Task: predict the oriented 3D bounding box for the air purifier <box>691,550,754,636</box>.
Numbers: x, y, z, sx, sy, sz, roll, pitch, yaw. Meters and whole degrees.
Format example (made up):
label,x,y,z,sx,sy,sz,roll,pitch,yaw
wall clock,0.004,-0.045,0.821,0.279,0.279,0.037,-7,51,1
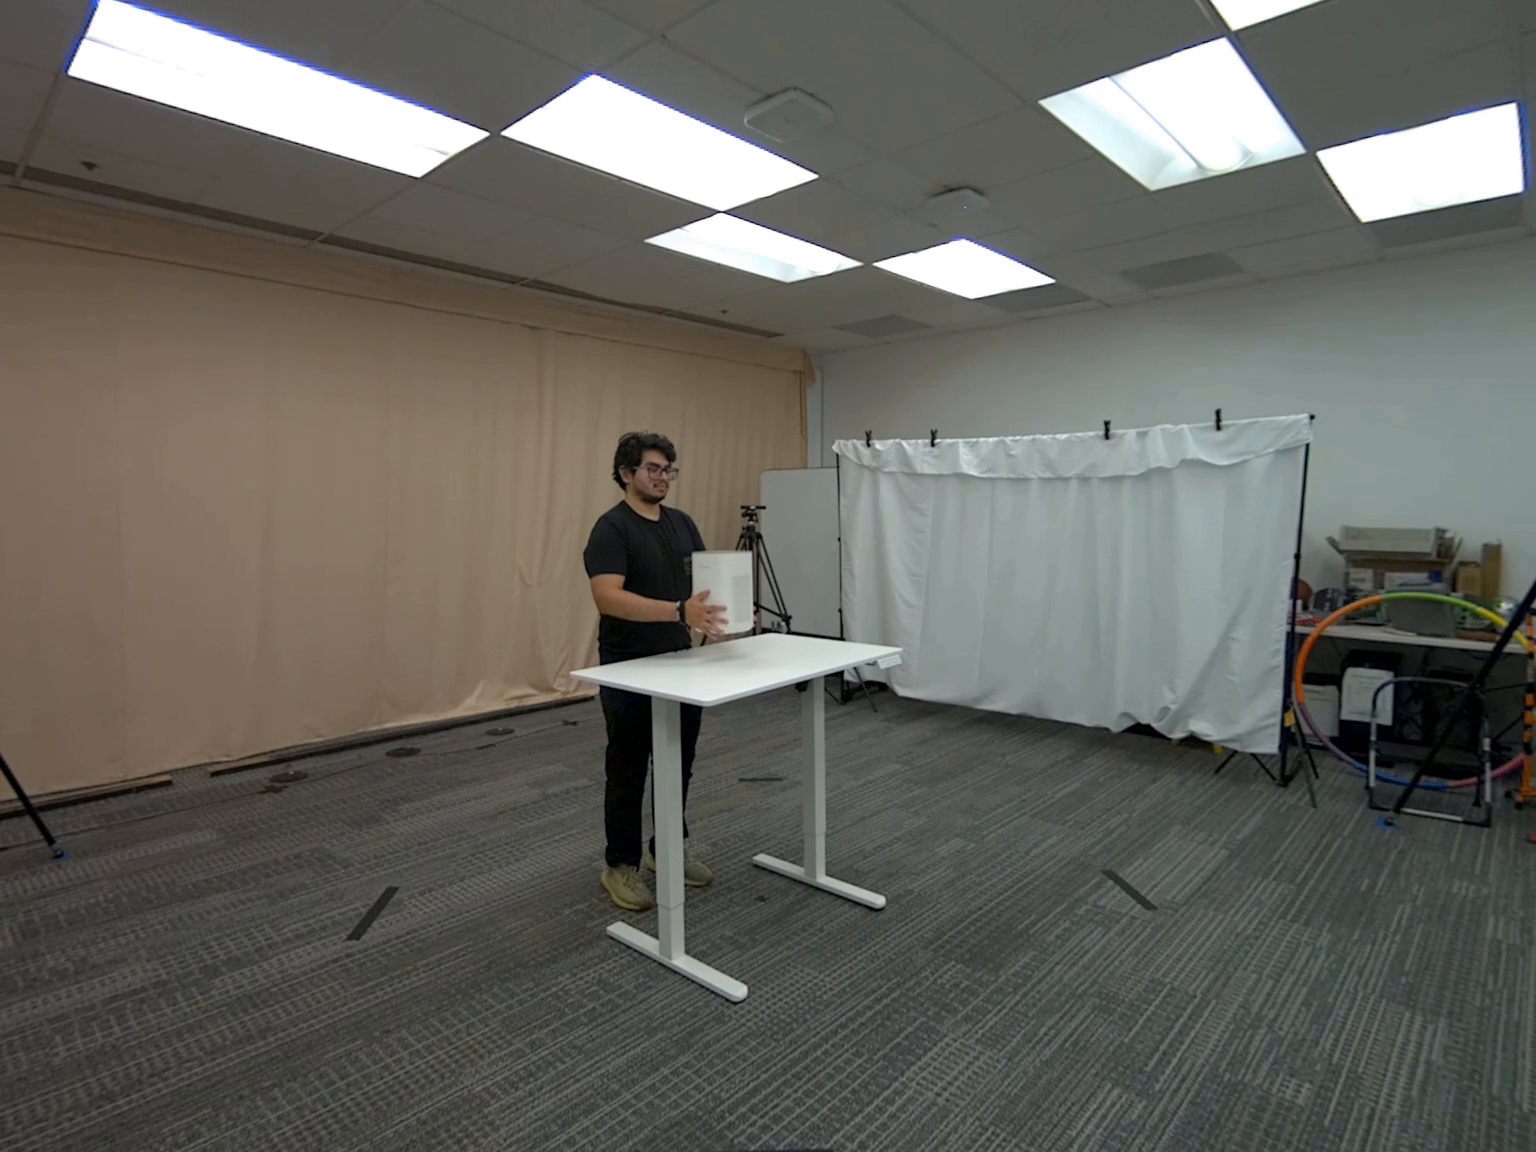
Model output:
label,x,y,z,sx,sy,sz,roll,pitch,yaw
air purifier,-0.147,0.049,2.781,0.176,0.265,0.166,0,3,38
